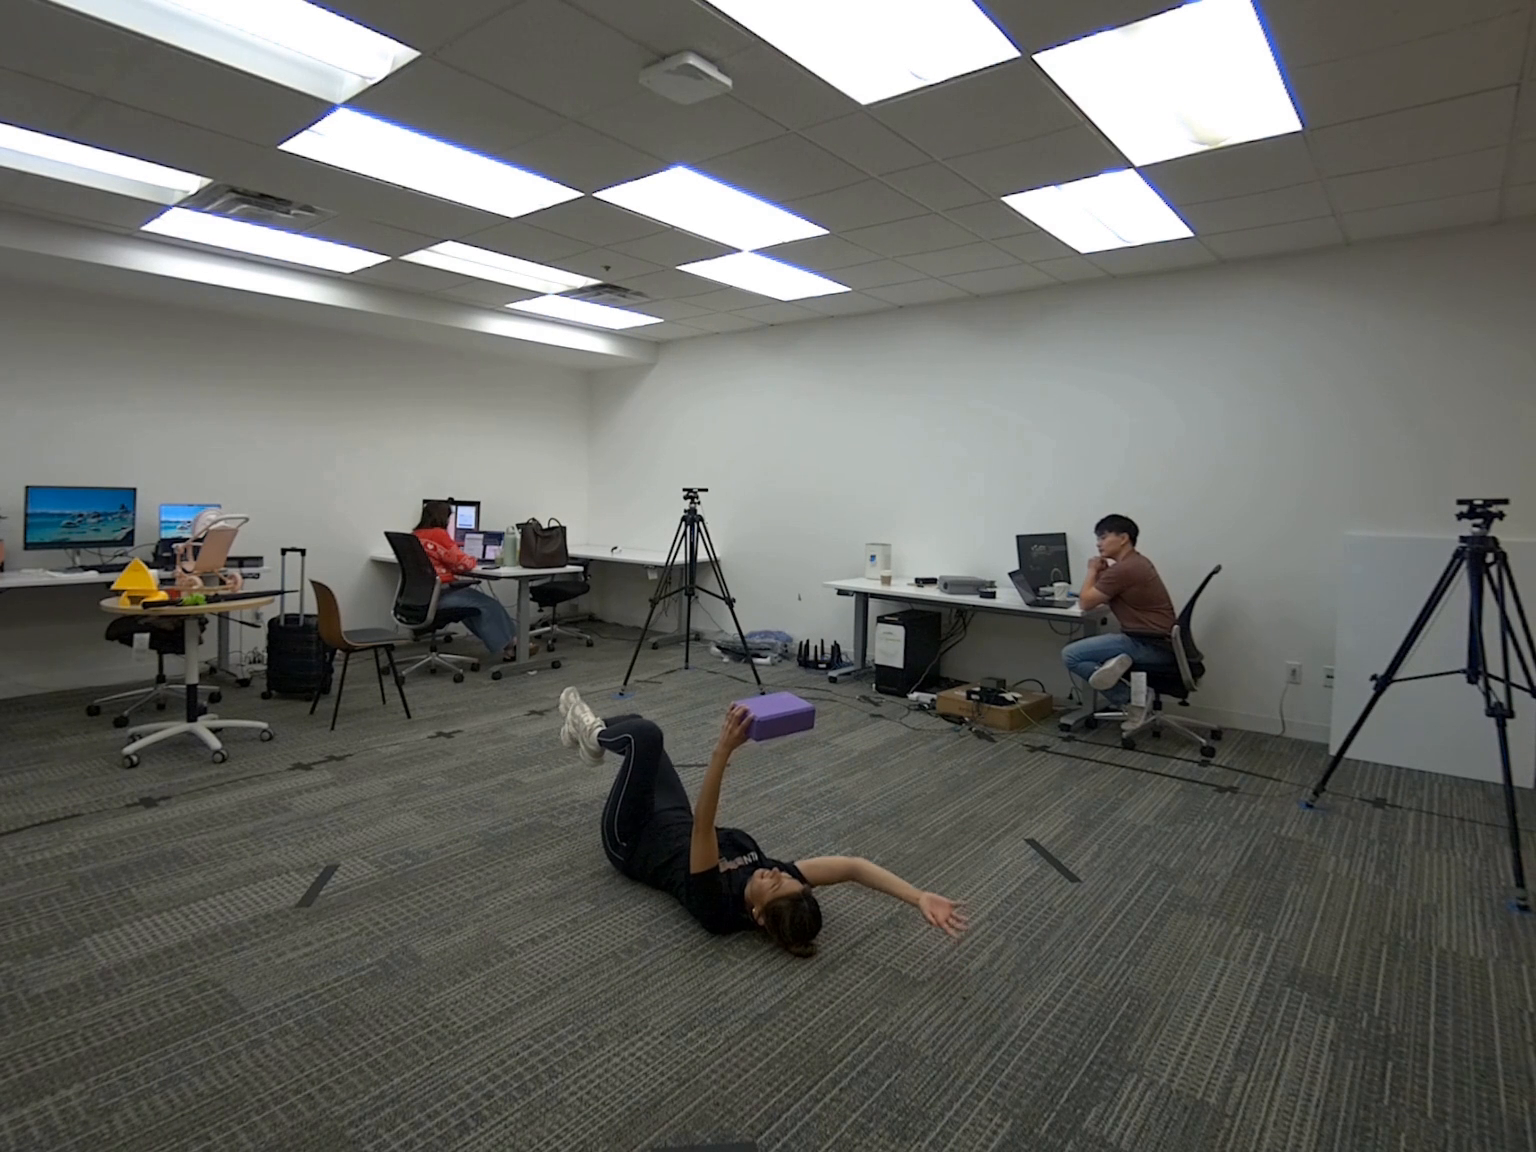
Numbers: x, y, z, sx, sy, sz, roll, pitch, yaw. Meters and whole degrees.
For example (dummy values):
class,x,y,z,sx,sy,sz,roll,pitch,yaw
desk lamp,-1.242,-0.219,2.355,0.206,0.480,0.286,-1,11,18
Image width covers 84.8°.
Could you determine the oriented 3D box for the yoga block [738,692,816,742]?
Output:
class,x,y,z,sx,sy,sz,roll,pitch,yaw
yoga block,0.007,0.422,2.560,0.223,0.076,0.154,-3,12,-33
